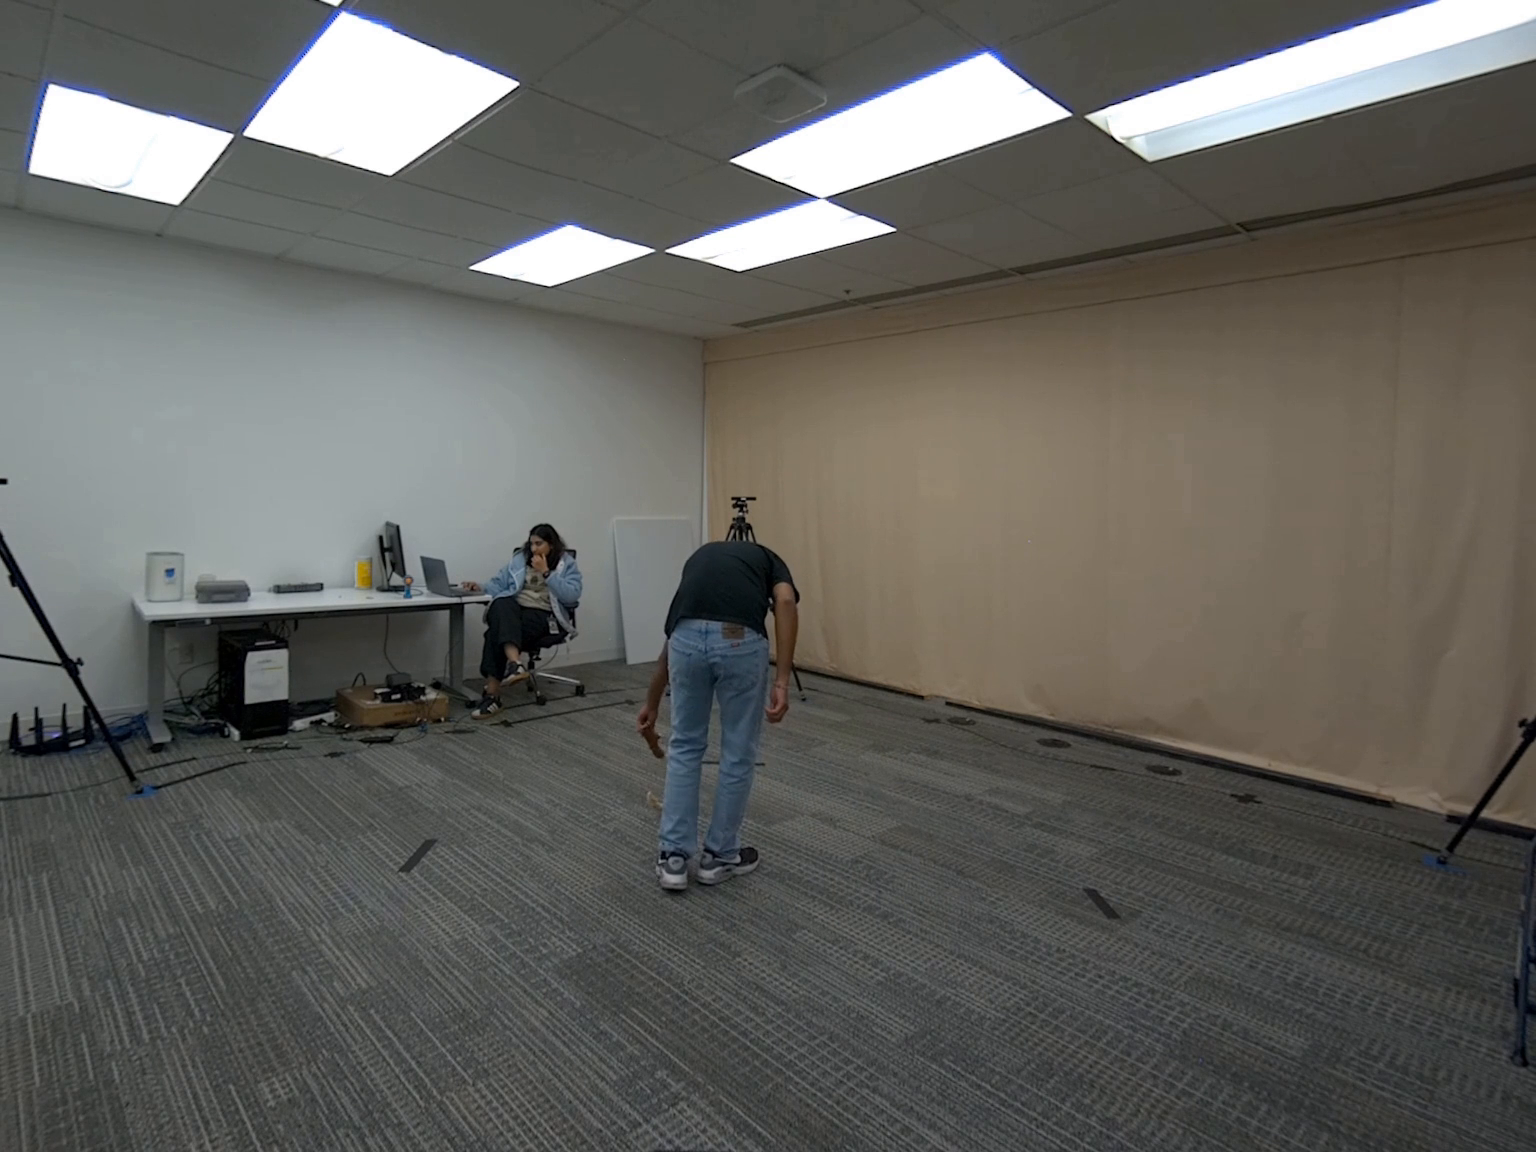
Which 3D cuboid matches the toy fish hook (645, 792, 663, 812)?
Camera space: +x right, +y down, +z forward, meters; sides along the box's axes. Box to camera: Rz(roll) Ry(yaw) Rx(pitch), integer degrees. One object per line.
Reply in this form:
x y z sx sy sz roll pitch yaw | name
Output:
-0.470 0.838 3.605 0.050 0.493 0.224 17 51 45 | toy fish hook
